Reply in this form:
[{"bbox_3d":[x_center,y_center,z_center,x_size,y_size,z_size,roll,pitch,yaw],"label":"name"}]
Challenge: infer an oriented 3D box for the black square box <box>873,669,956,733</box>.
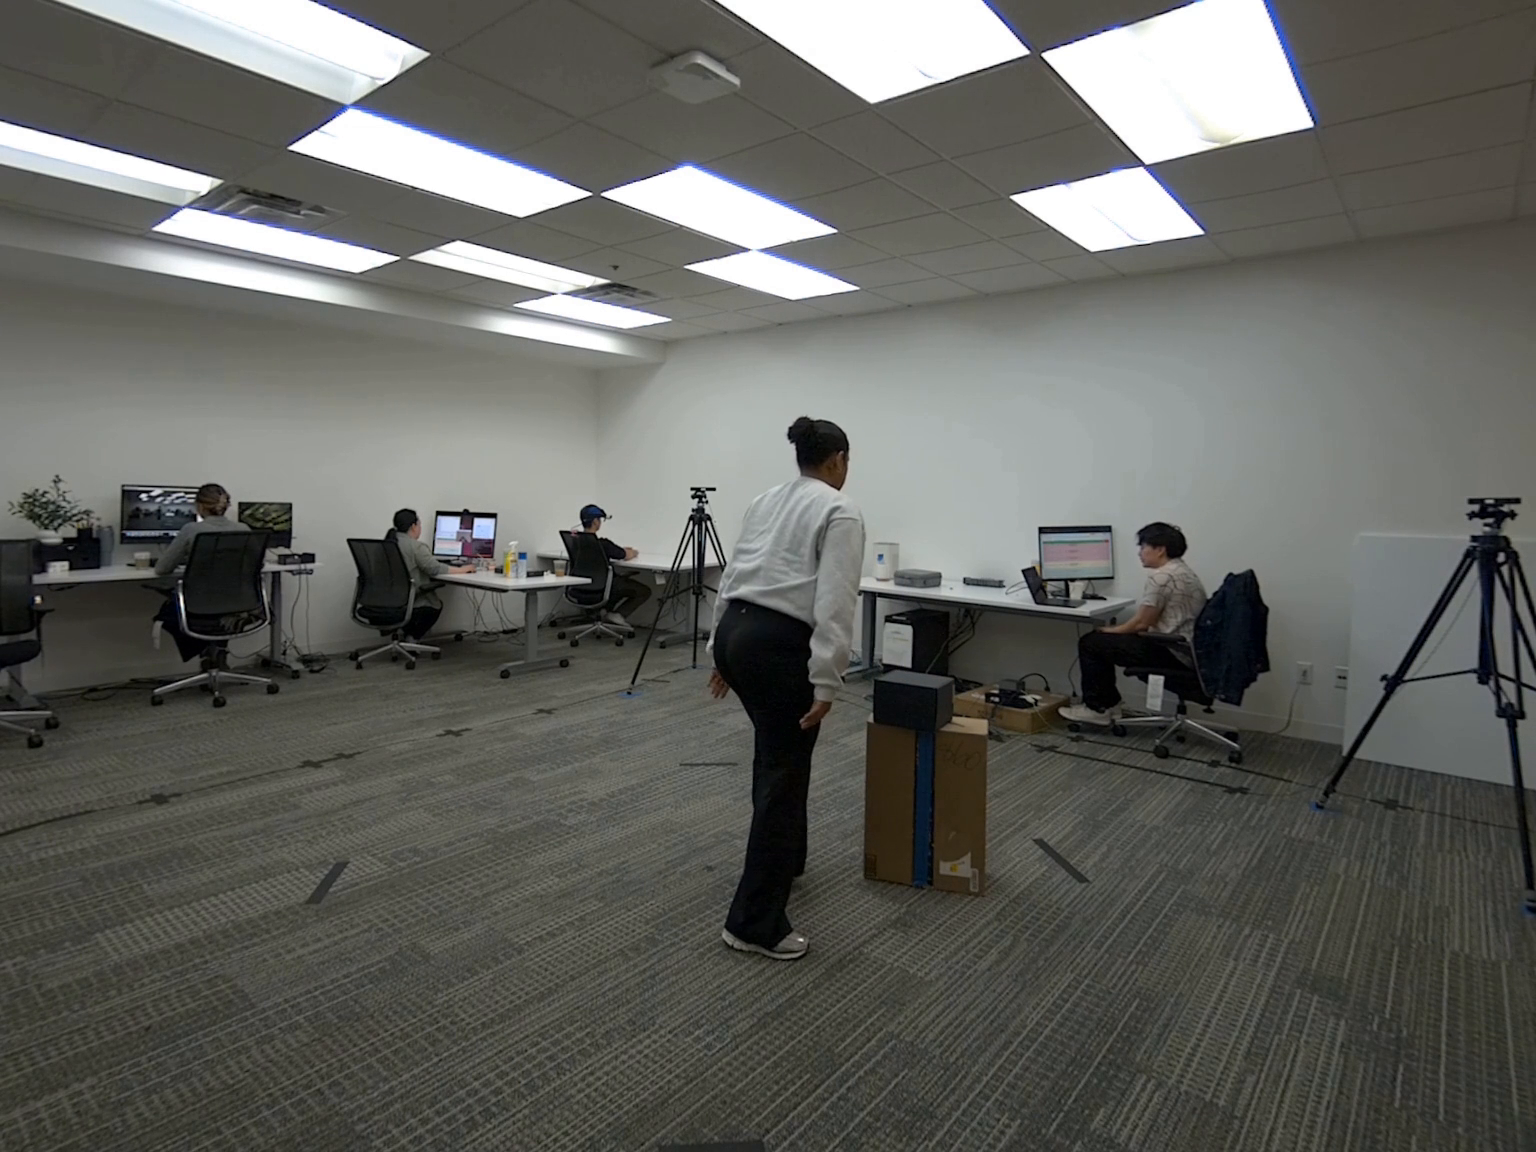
[{"bbox_3d":[0.522,0.439,3.066,0.234,0.155,0.211,5,4,29],"label":"black square box"}]
